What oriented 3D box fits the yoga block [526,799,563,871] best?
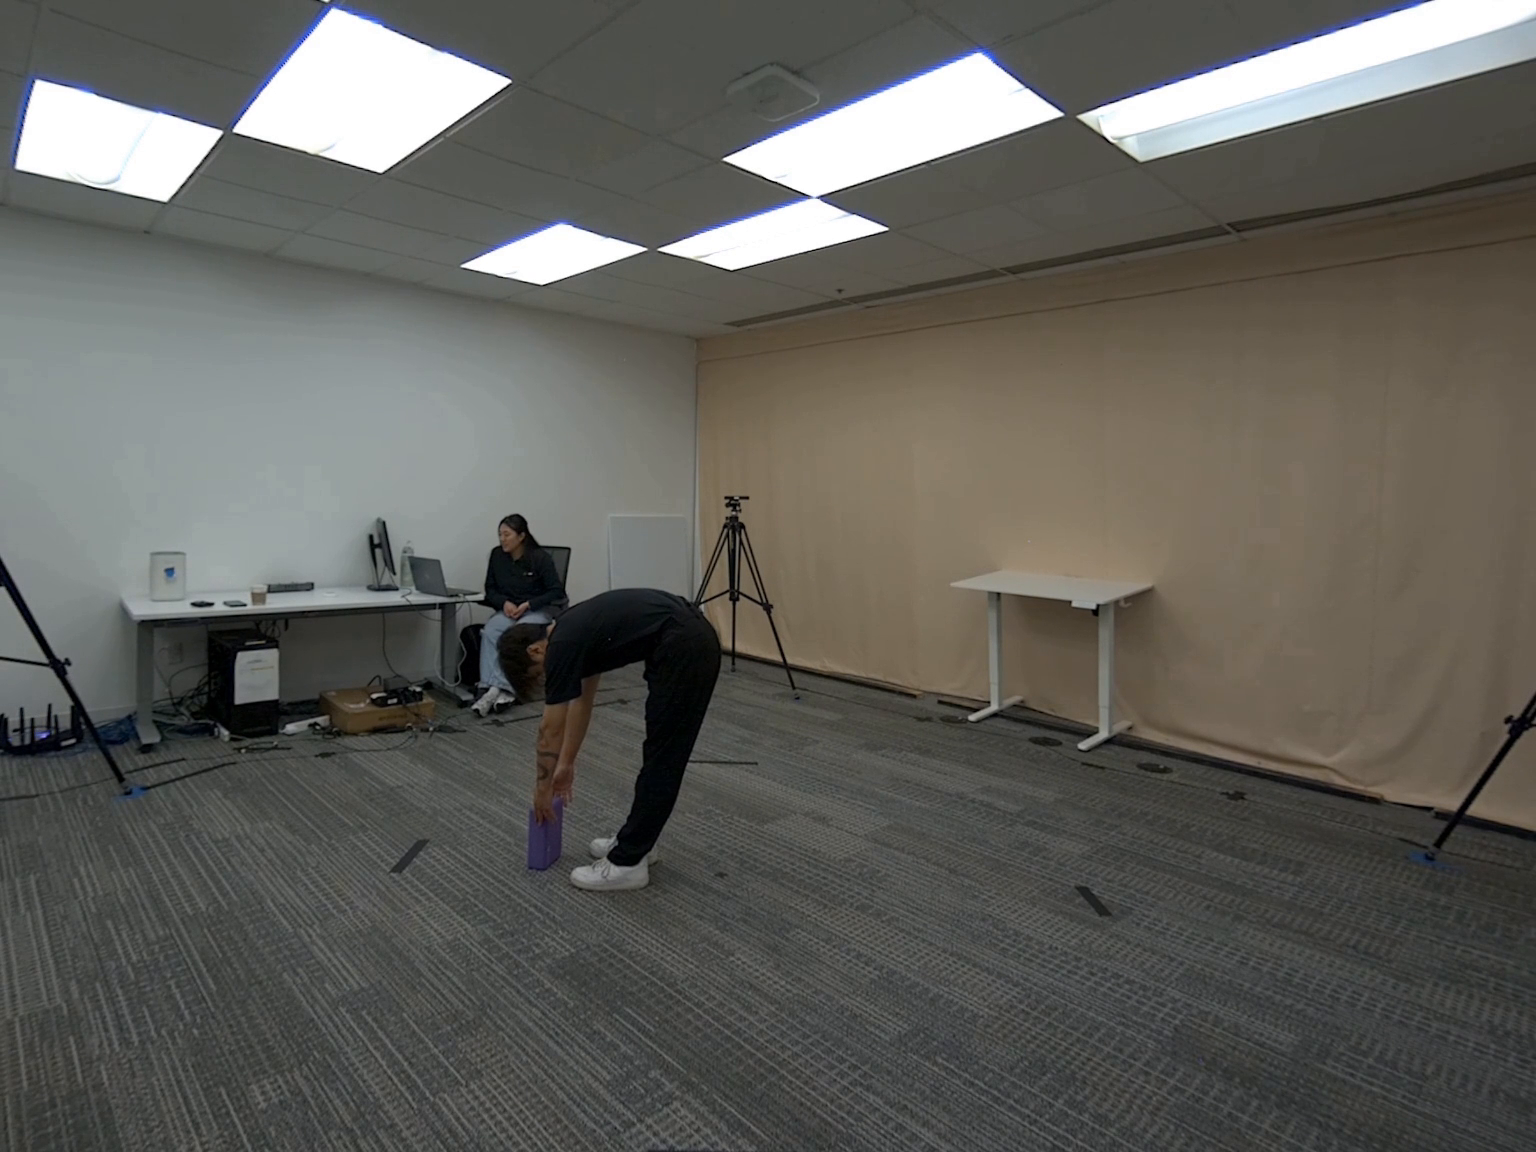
[{"bbox_3d":[-0.837,0.962,3.171,0.077,0.229,0.148,2,3,9],"label":"yoga block"}]
